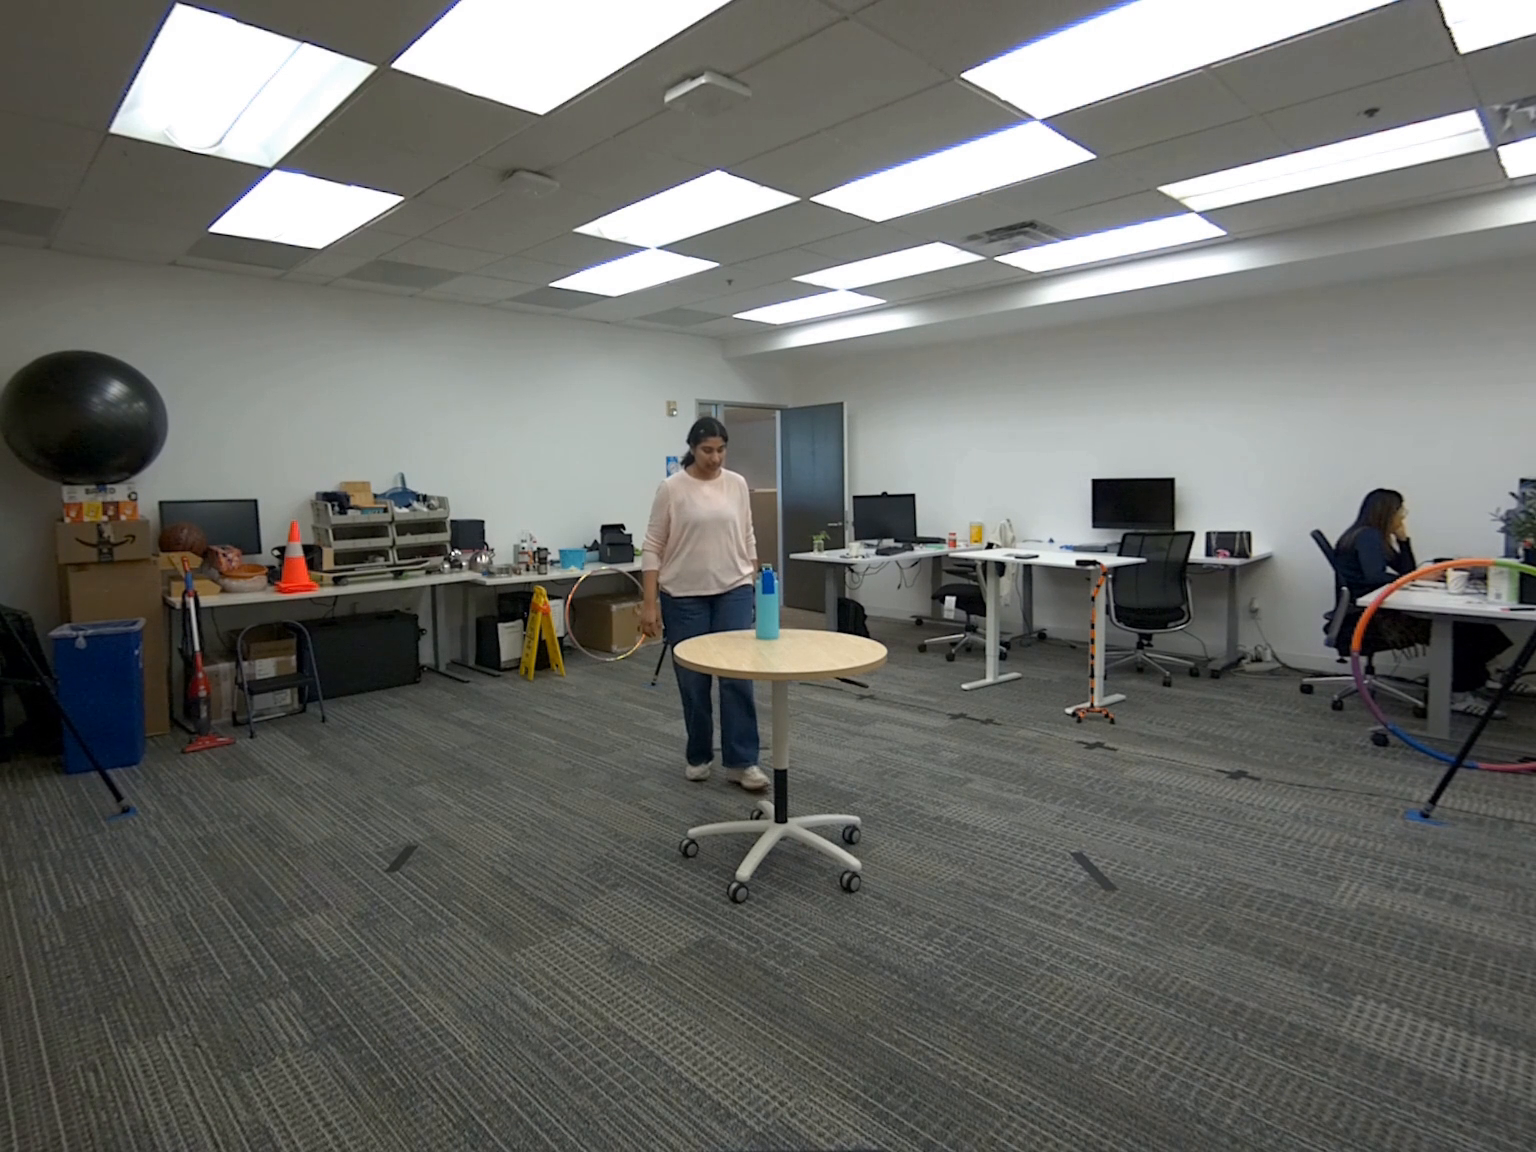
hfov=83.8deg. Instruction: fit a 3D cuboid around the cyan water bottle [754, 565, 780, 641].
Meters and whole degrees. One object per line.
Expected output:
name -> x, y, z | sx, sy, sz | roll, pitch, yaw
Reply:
cyan water bottle -> -0.006, 0.101, 3.284 | 0.092, 0.282, 0.093 | 0, 5, -2
